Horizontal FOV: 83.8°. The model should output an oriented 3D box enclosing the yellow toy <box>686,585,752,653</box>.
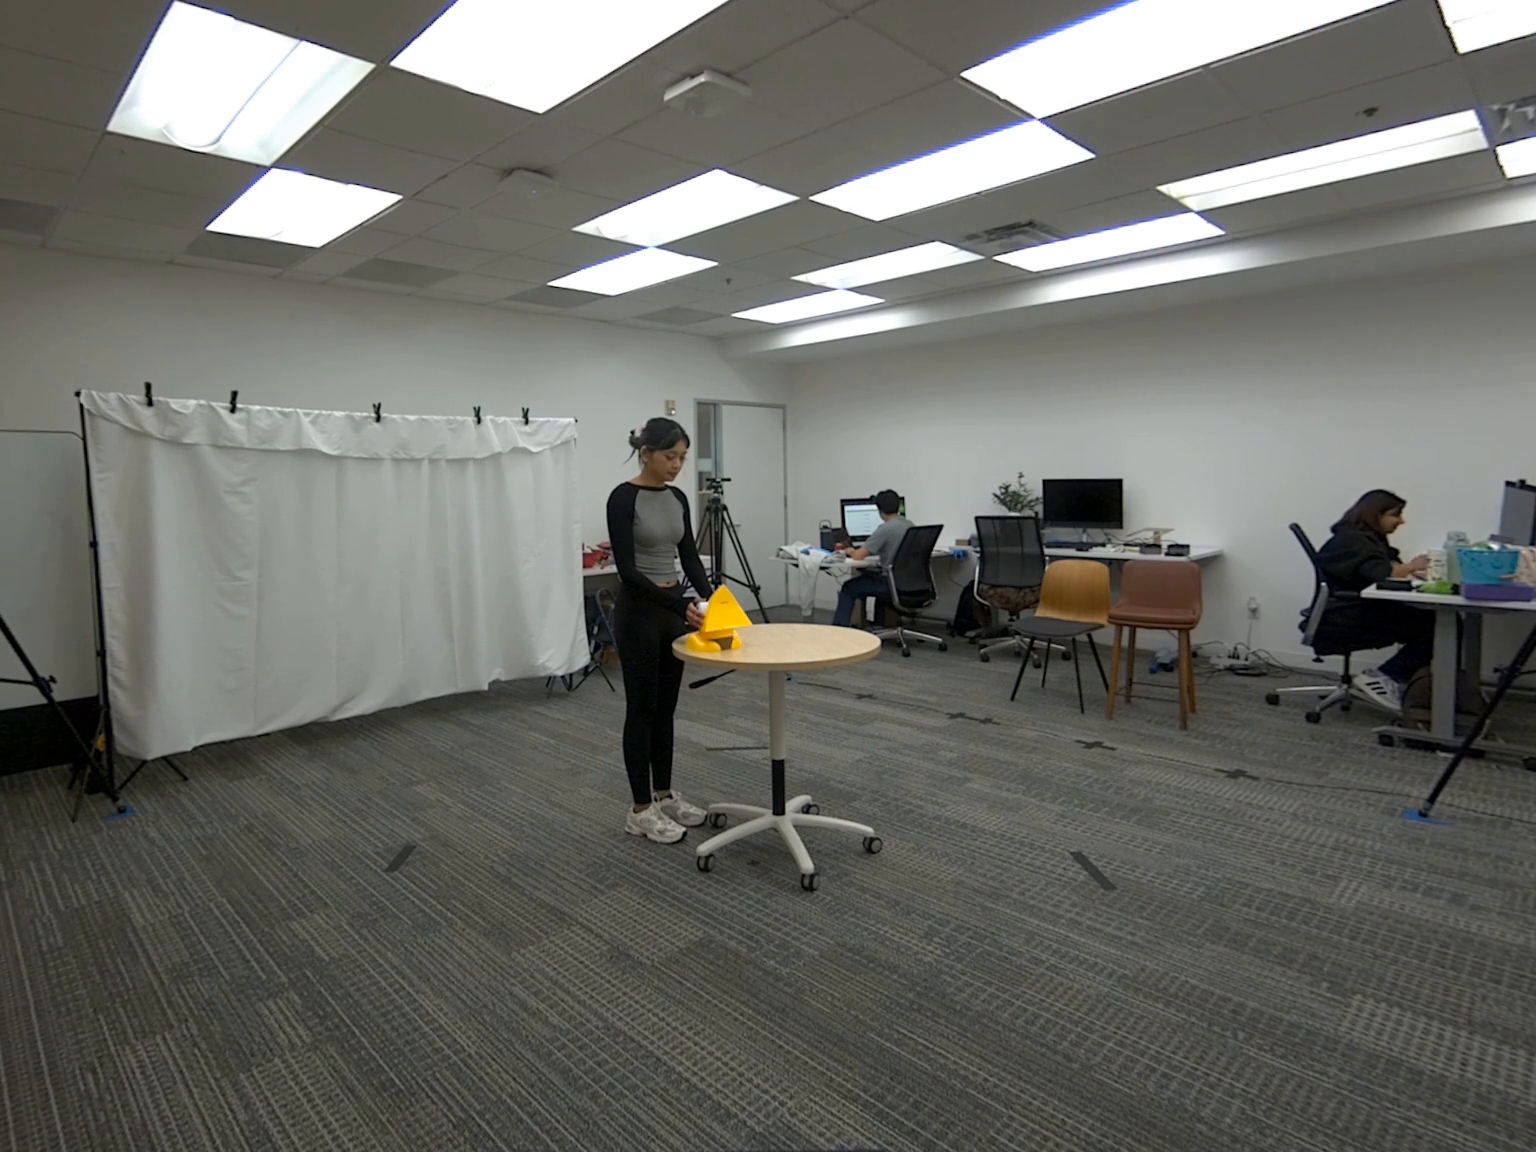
[{"bbox_3d":[-0.191,0.142,3.076,0.199,0.230,0.198,-6,4,-38],"label":"yellow toy"}]
